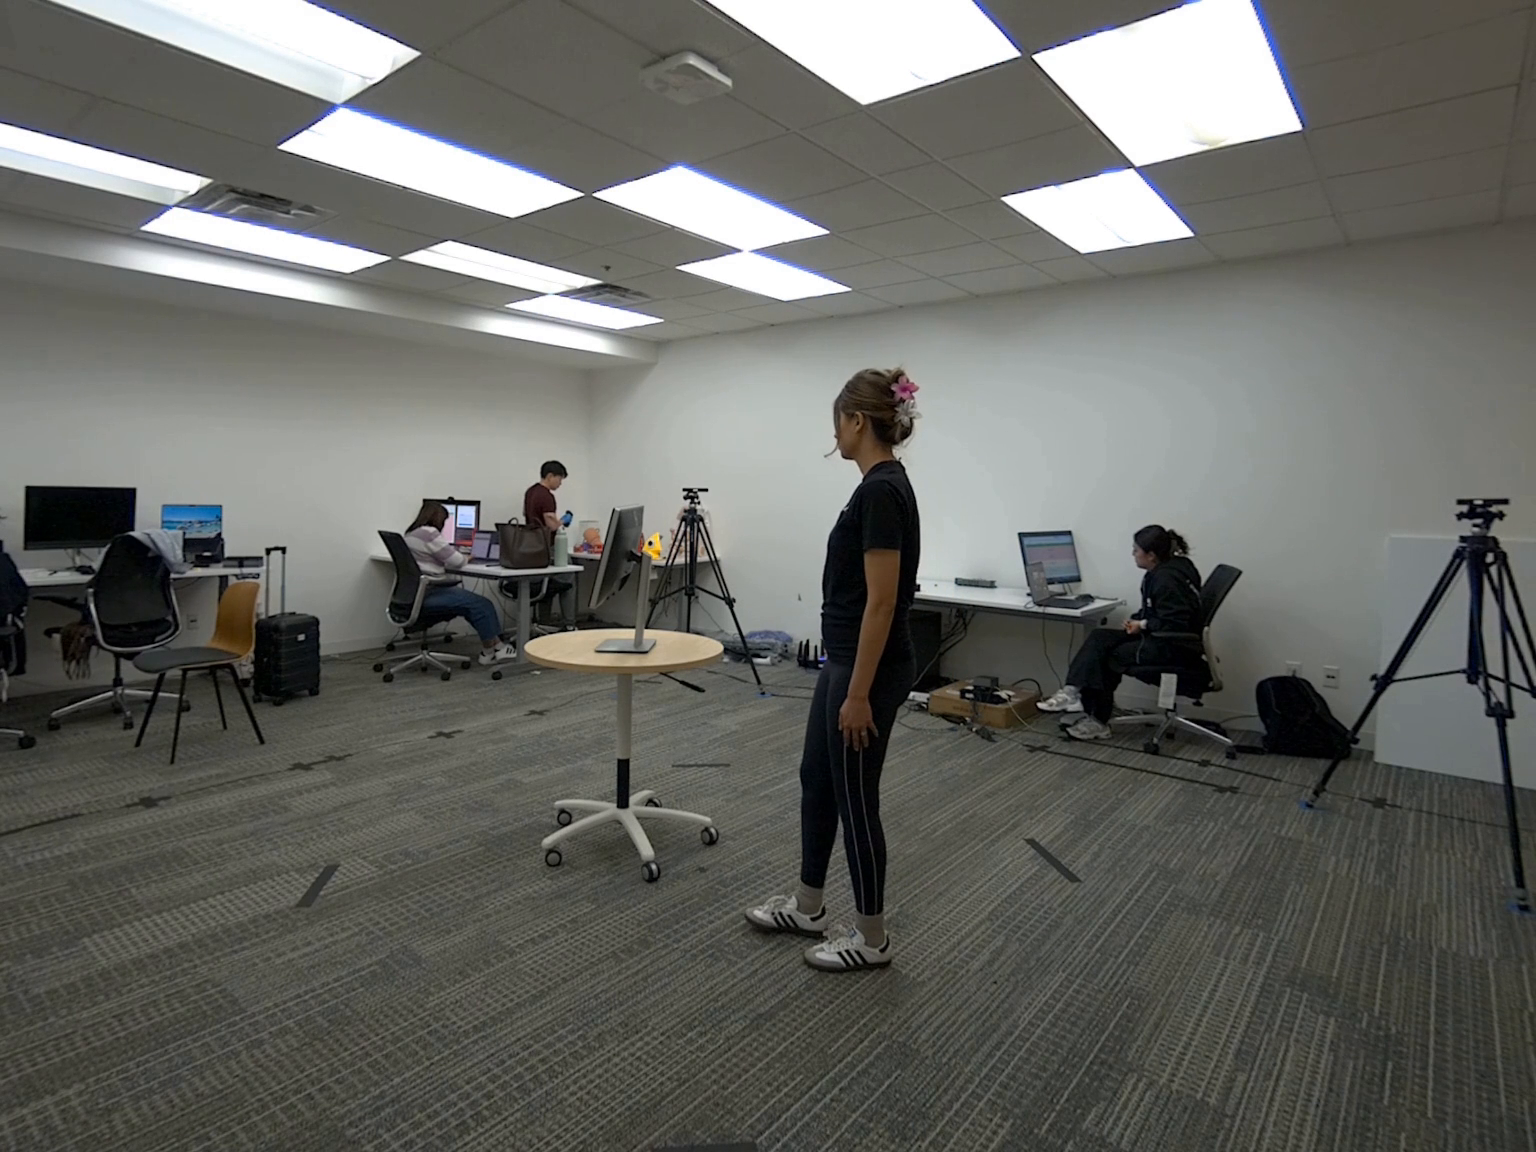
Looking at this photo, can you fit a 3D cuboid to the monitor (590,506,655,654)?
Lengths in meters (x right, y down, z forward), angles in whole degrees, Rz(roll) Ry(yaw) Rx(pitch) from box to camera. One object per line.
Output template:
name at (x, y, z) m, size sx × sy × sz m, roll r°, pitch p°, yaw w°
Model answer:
monitor at (-0.547, 0.009, 3.247) m, size 0.187 × 0.520 × 0.541 m, roll 1°, pitch 5°, yaw -1°
